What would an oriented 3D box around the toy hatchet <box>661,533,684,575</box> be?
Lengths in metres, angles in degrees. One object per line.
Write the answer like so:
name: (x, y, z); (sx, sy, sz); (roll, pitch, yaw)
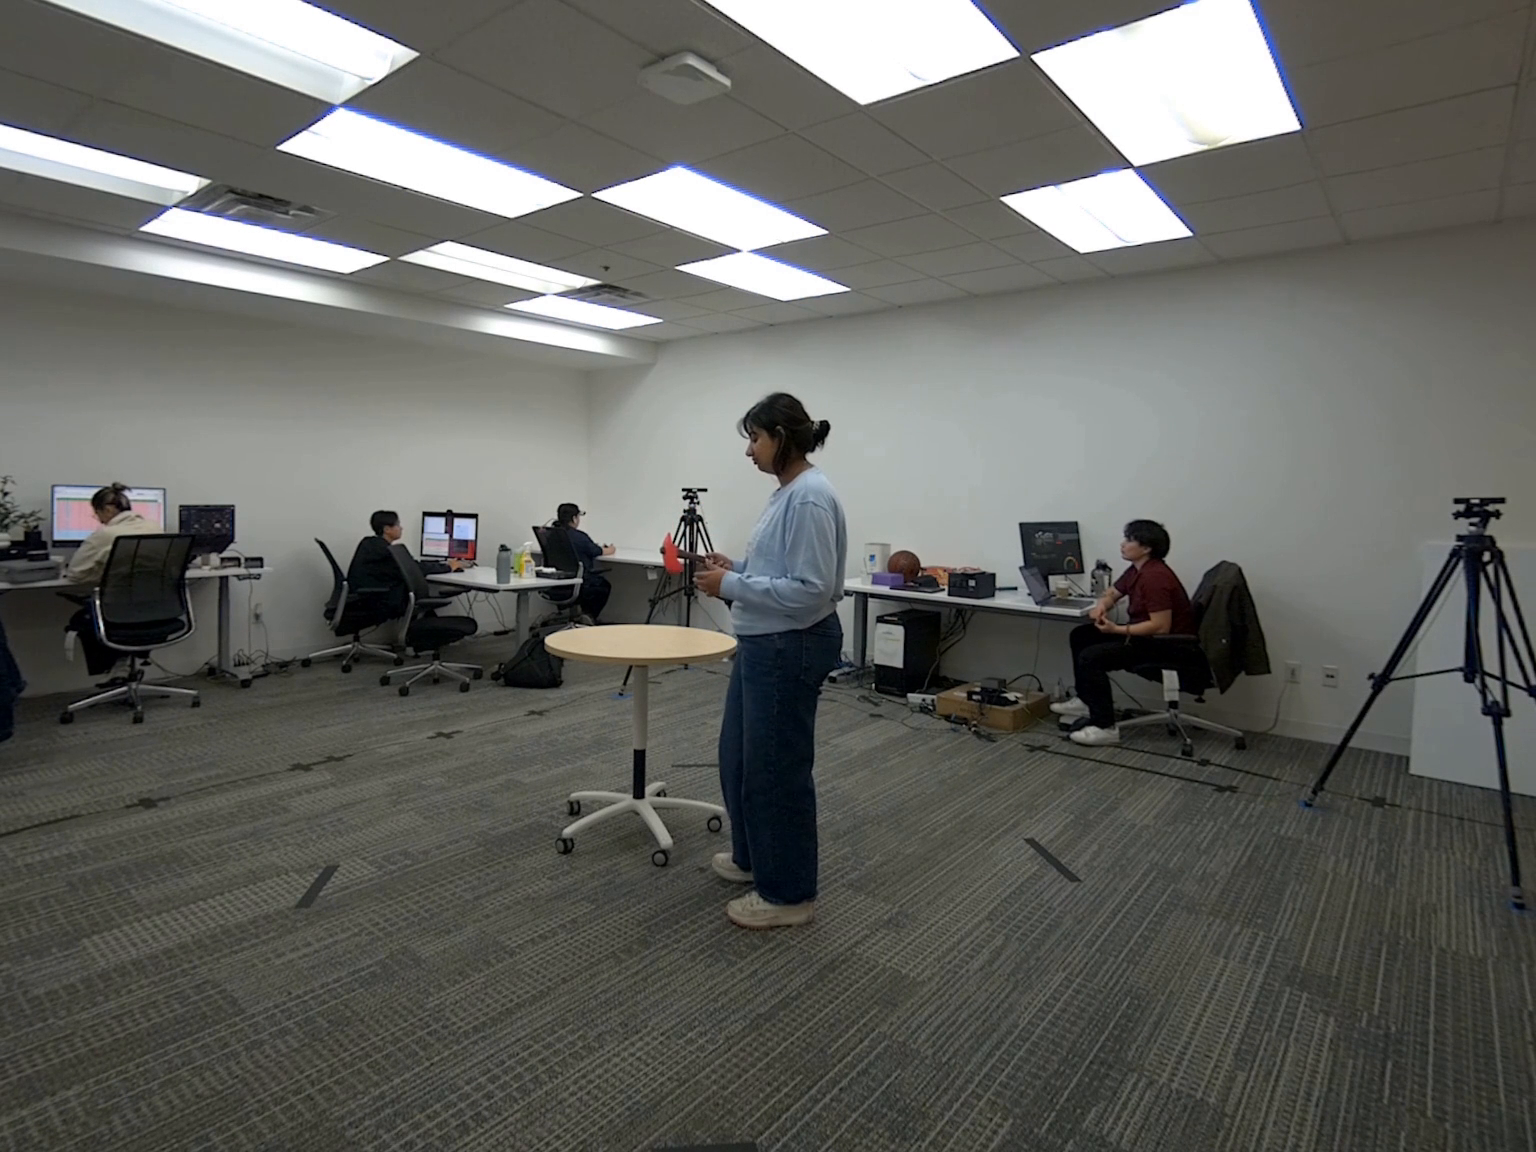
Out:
toy hatchet: (-0.237, -0.032, 2.685); (0.263, 0.133, 0.030); (31, -39, -19)
